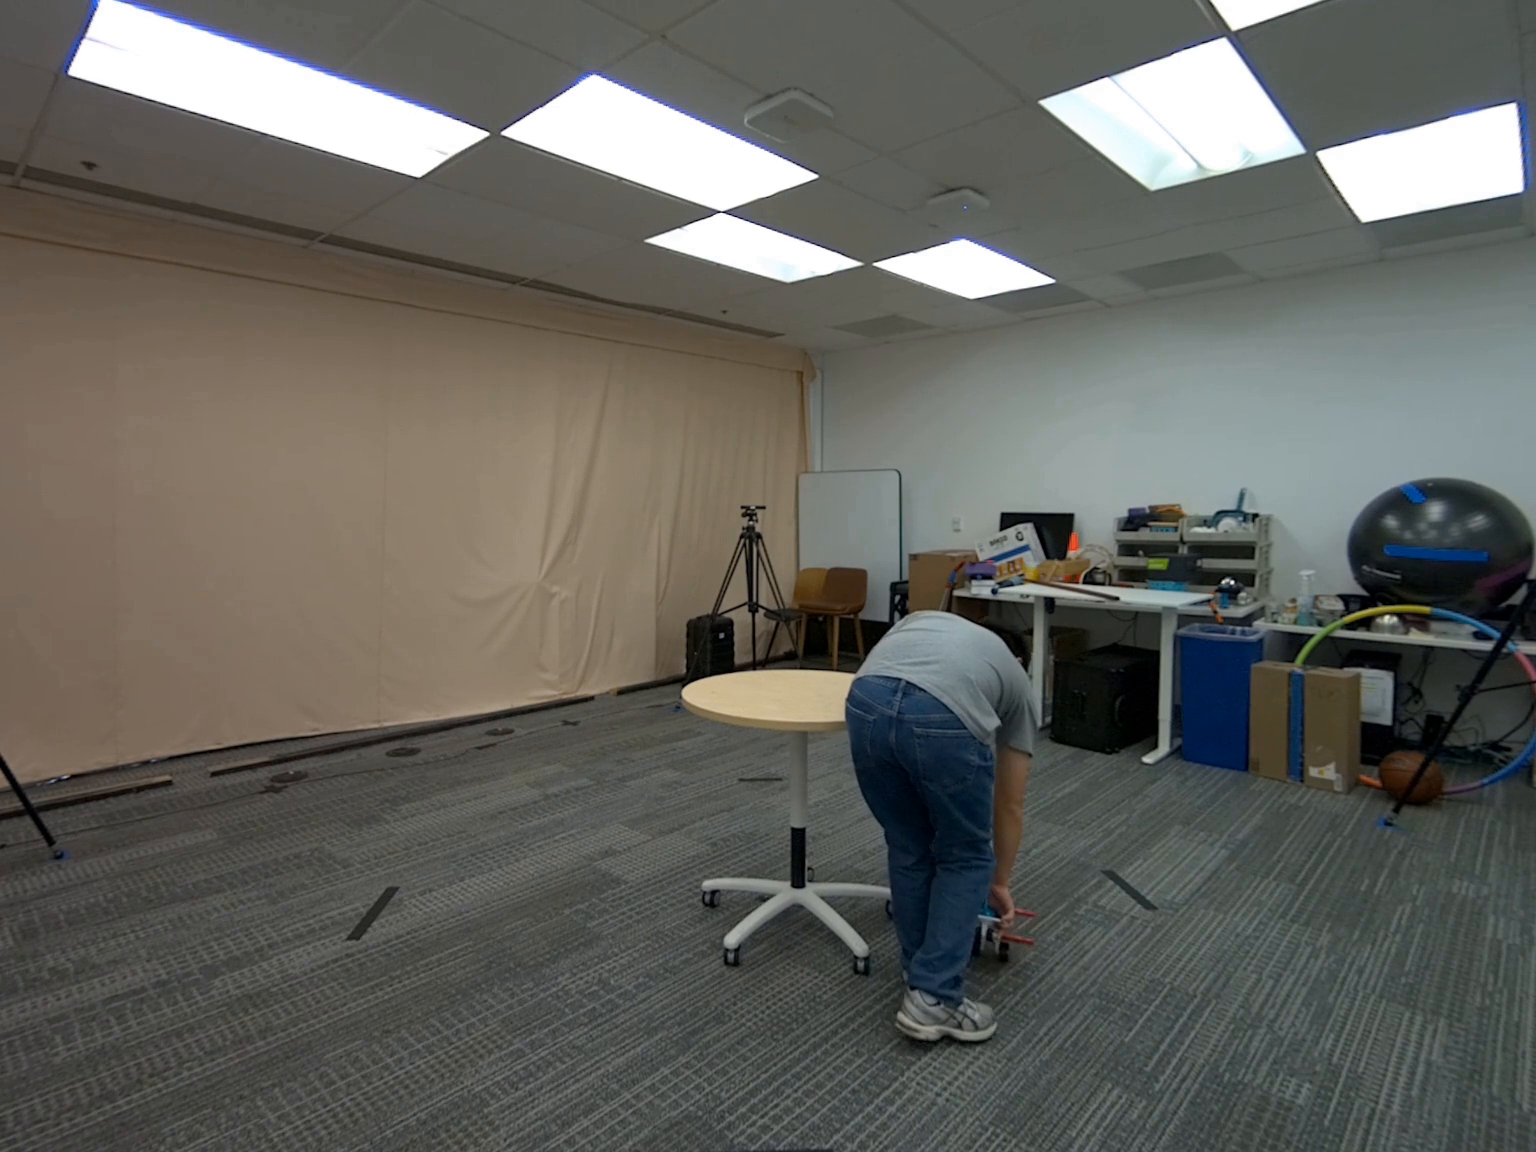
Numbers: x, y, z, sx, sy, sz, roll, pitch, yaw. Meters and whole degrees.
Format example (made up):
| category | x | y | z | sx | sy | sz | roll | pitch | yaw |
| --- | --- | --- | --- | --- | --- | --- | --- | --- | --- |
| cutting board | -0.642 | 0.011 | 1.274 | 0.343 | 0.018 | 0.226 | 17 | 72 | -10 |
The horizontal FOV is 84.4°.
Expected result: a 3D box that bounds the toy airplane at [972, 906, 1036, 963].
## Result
| category | x | y | z | sx | sy | sz | roll | pitch | yaw |
| --- | --- | --- | --- | --- | --- | --- | --- | --- | --- |
| toy airplane | 0.696 | 1.062 | 2.556 | 0.251 | 0.157 | 0.257 | 18 | -35 | -1 |
